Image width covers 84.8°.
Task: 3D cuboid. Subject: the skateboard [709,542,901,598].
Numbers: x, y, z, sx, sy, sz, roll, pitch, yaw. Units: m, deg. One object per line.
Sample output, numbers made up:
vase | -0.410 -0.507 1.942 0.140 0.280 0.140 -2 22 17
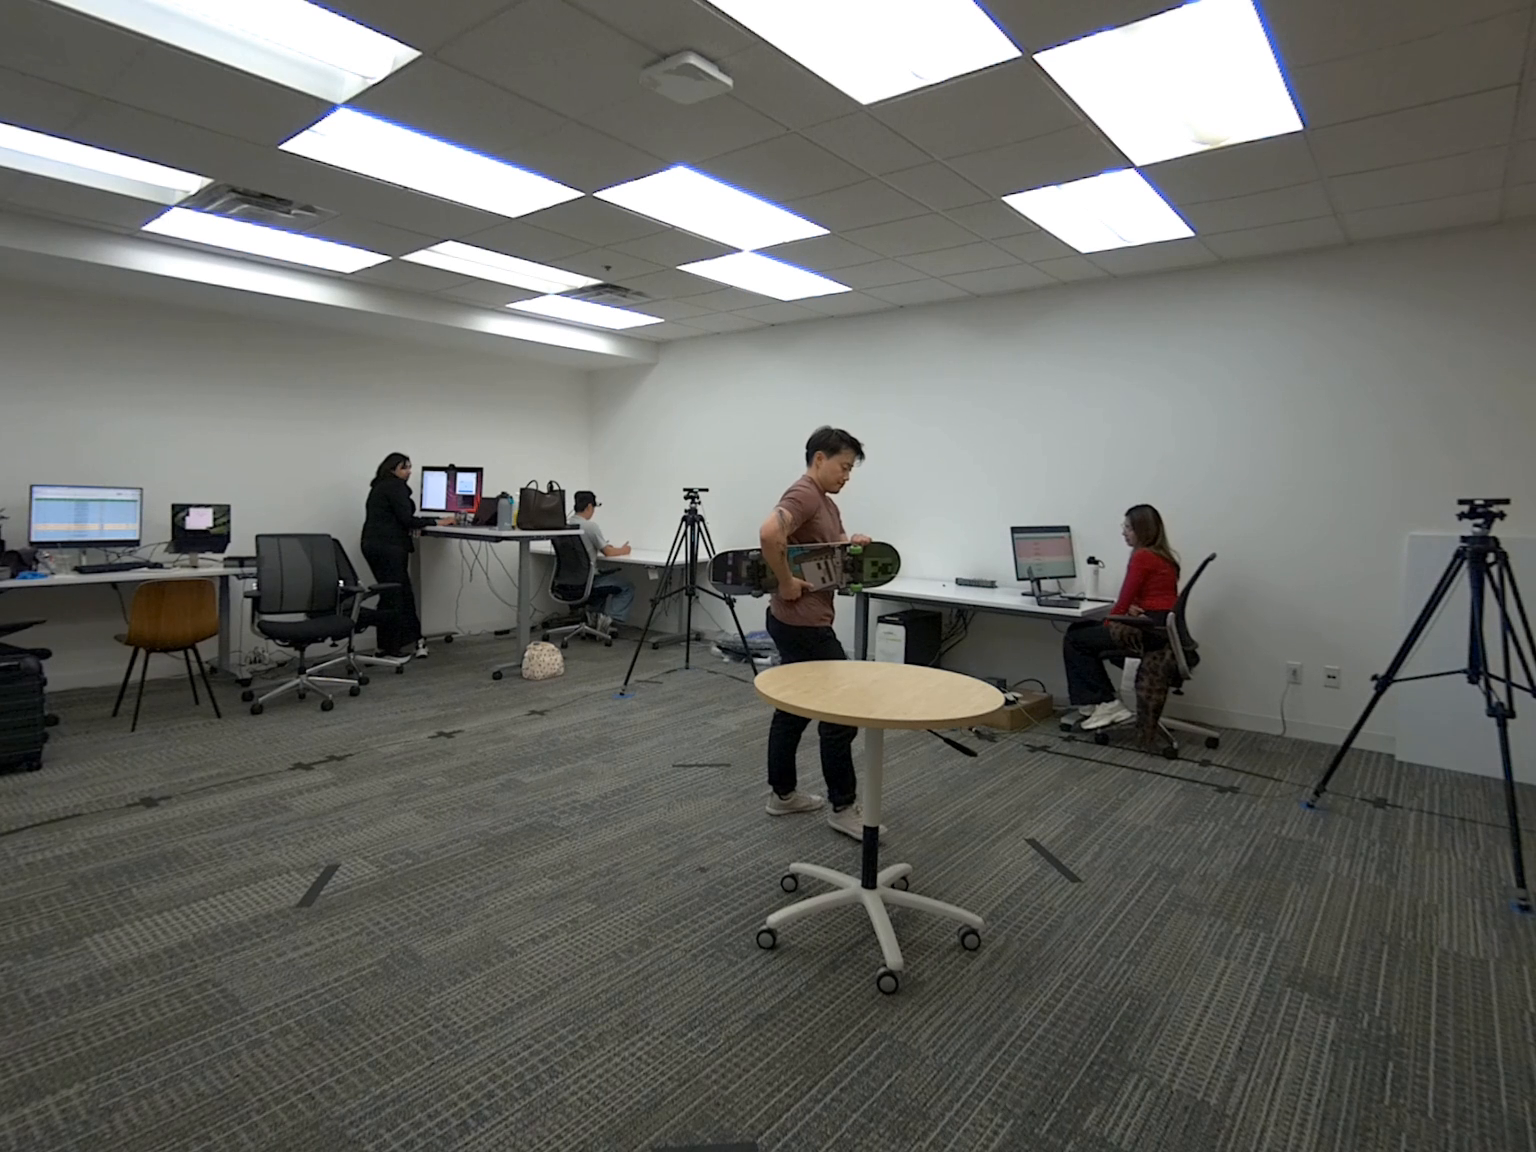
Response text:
skateboard | 0.157 -0.026 3.405 0.785 0.192 0.111 -3 8 -1
